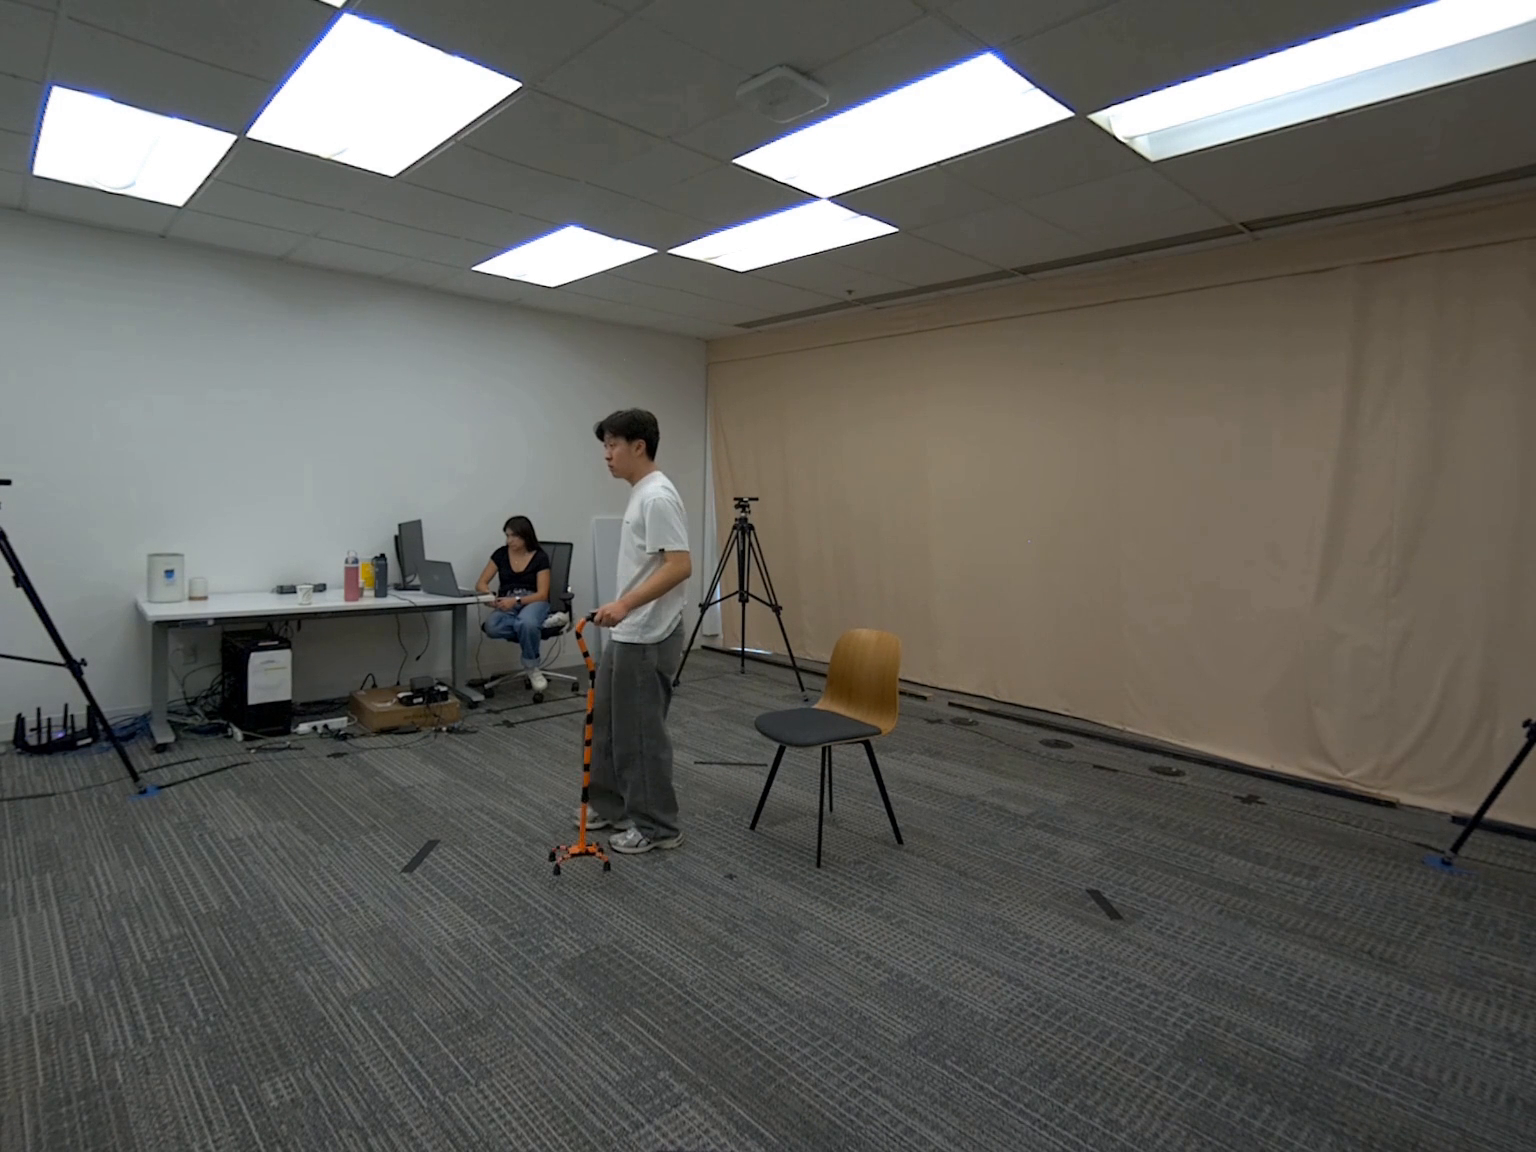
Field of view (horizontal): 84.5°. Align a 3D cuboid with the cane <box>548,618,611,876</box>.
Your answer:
[{"bbox_3d":[-0.651,0.608,3.002,0.203,0.907,0.154,4,2,-18],"label":"cane"}]
